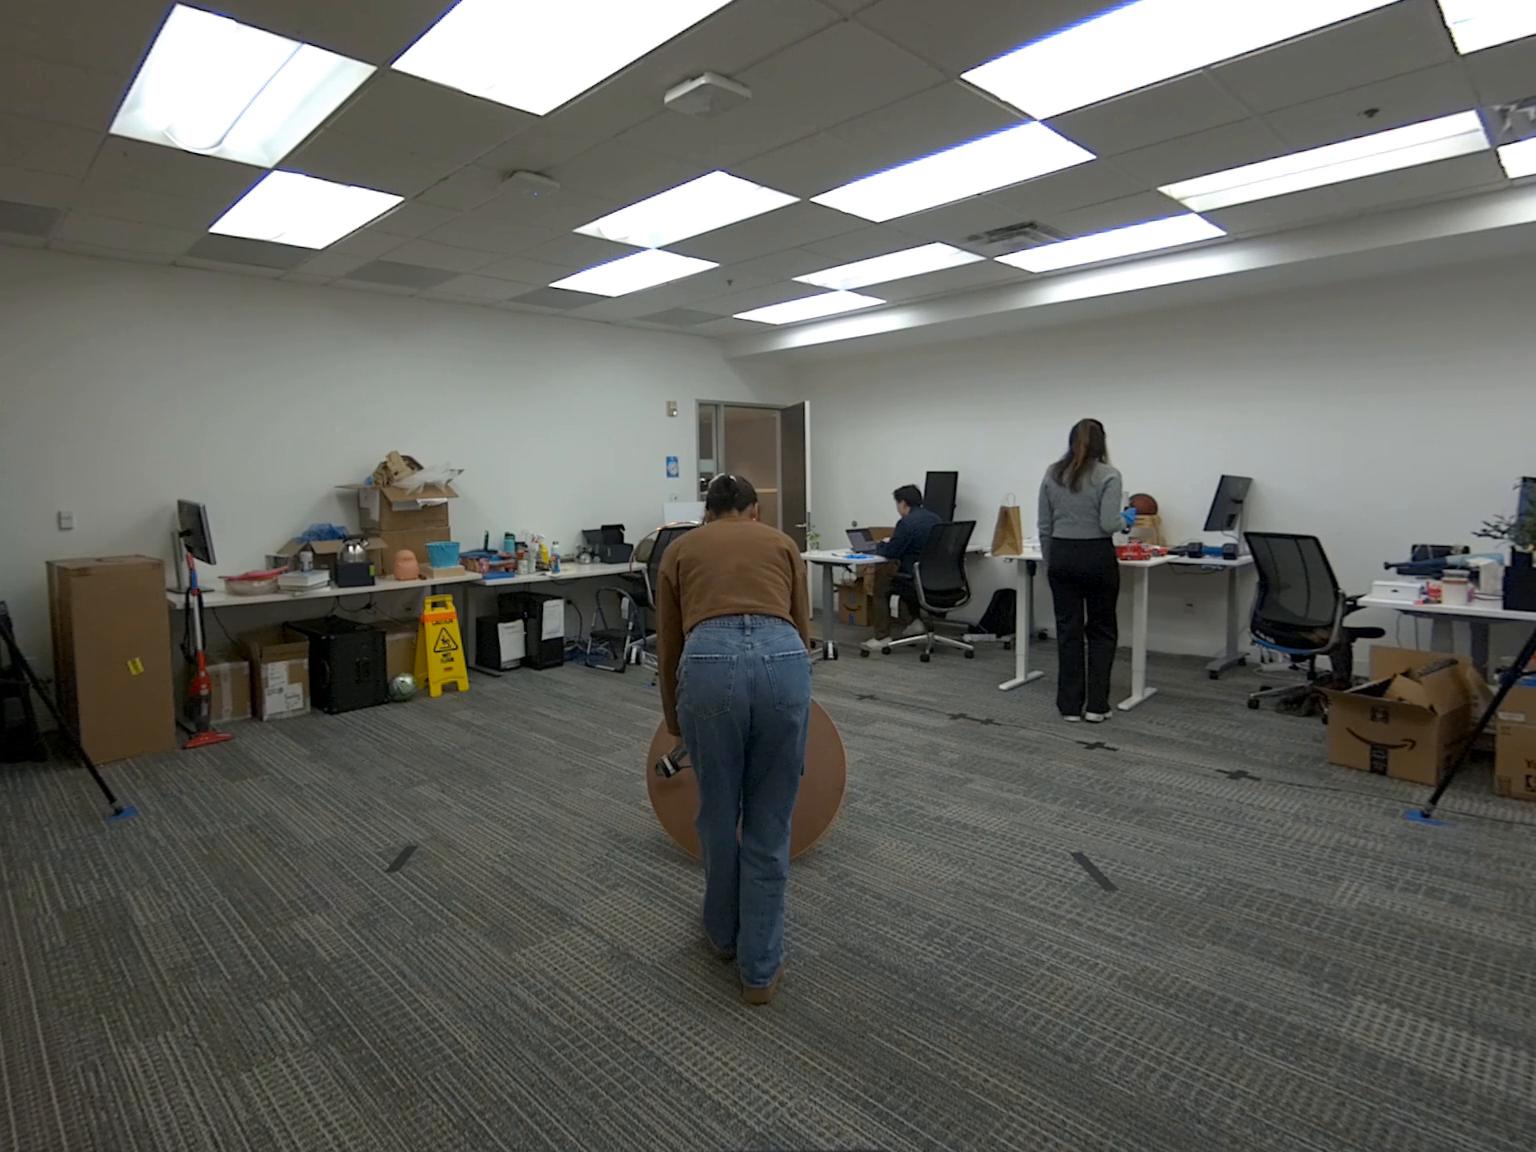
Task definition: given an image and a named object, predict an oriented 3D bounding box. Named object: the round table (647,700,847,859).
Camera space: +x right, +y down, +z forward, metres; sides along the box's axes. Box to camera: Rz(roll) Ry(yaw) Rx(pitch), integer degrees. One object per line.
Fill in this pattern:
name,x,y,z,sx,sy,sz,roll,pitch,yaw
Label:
round table,-0.100,0.516,2.963,0.767,0.783,0.771,-1,-35,4
